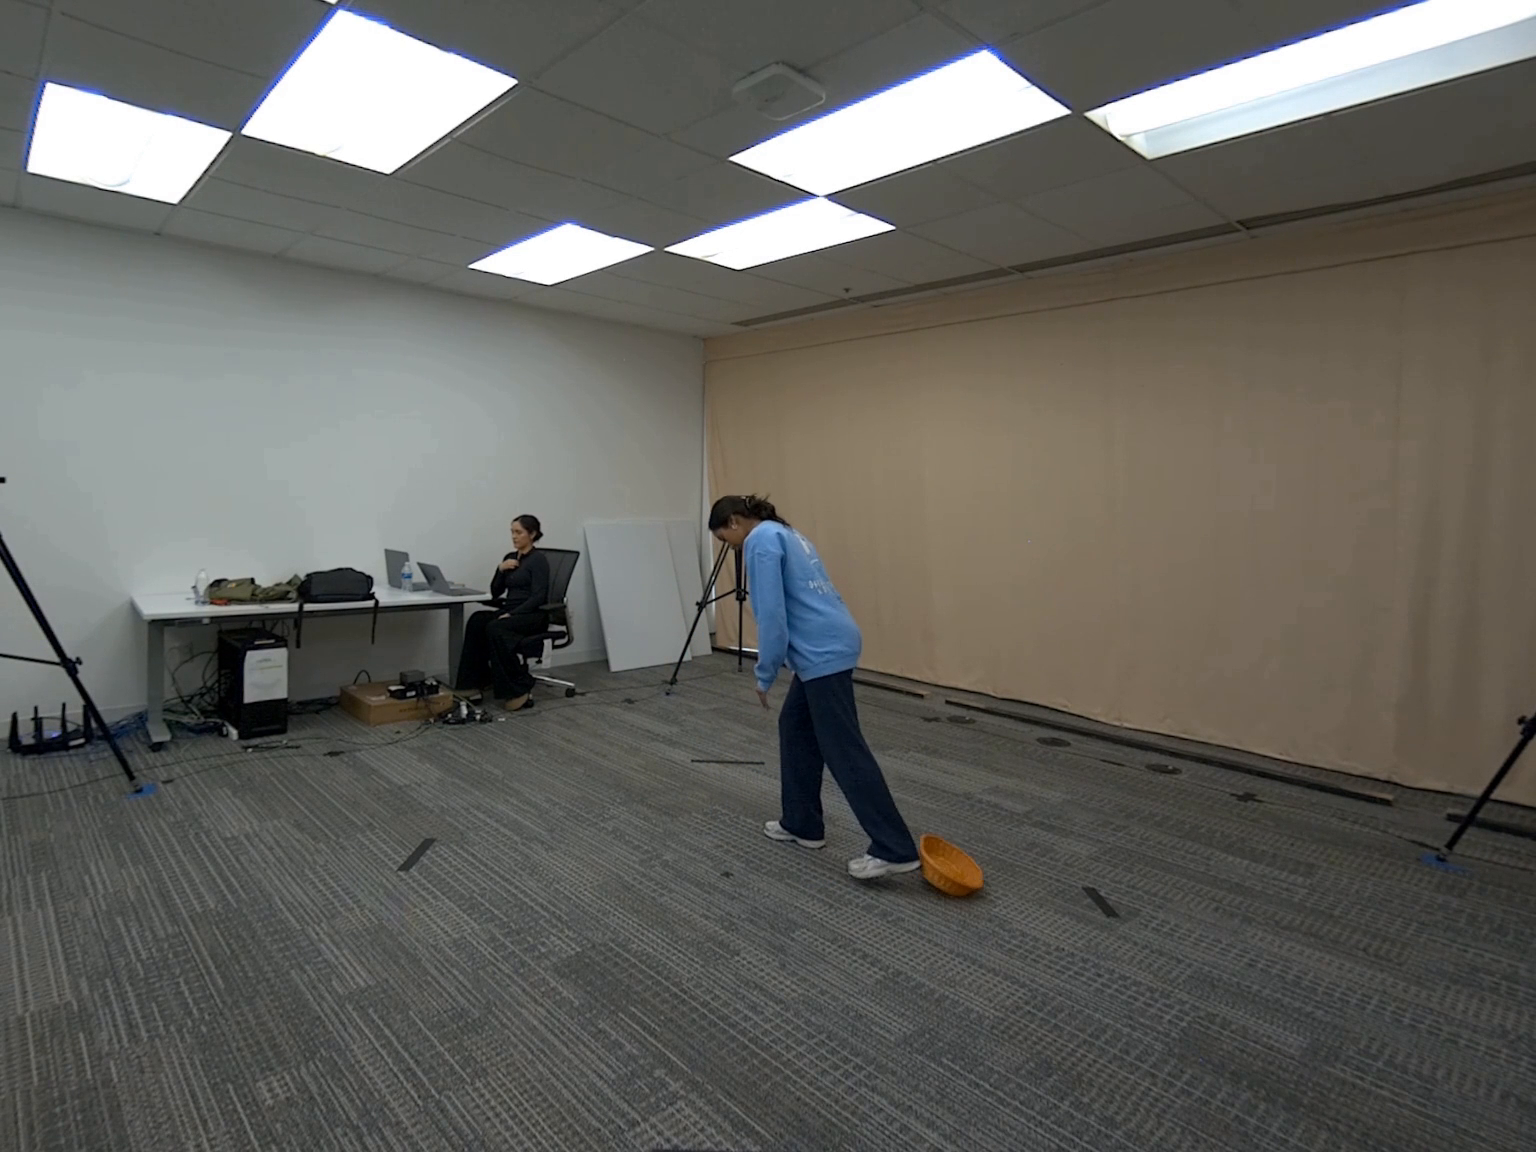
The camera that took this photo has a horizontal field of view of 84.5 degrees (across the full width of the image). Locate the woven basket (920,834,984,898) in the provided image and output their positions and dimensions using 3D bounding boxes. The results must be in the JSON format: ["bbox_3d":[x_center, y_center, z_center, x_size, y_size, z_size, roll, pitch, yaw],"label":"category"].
[{"bbox_3d":[0.639,1.058,3.067,0.256,0.073,0.345,27,7,14],"label":"woven basket"}]
